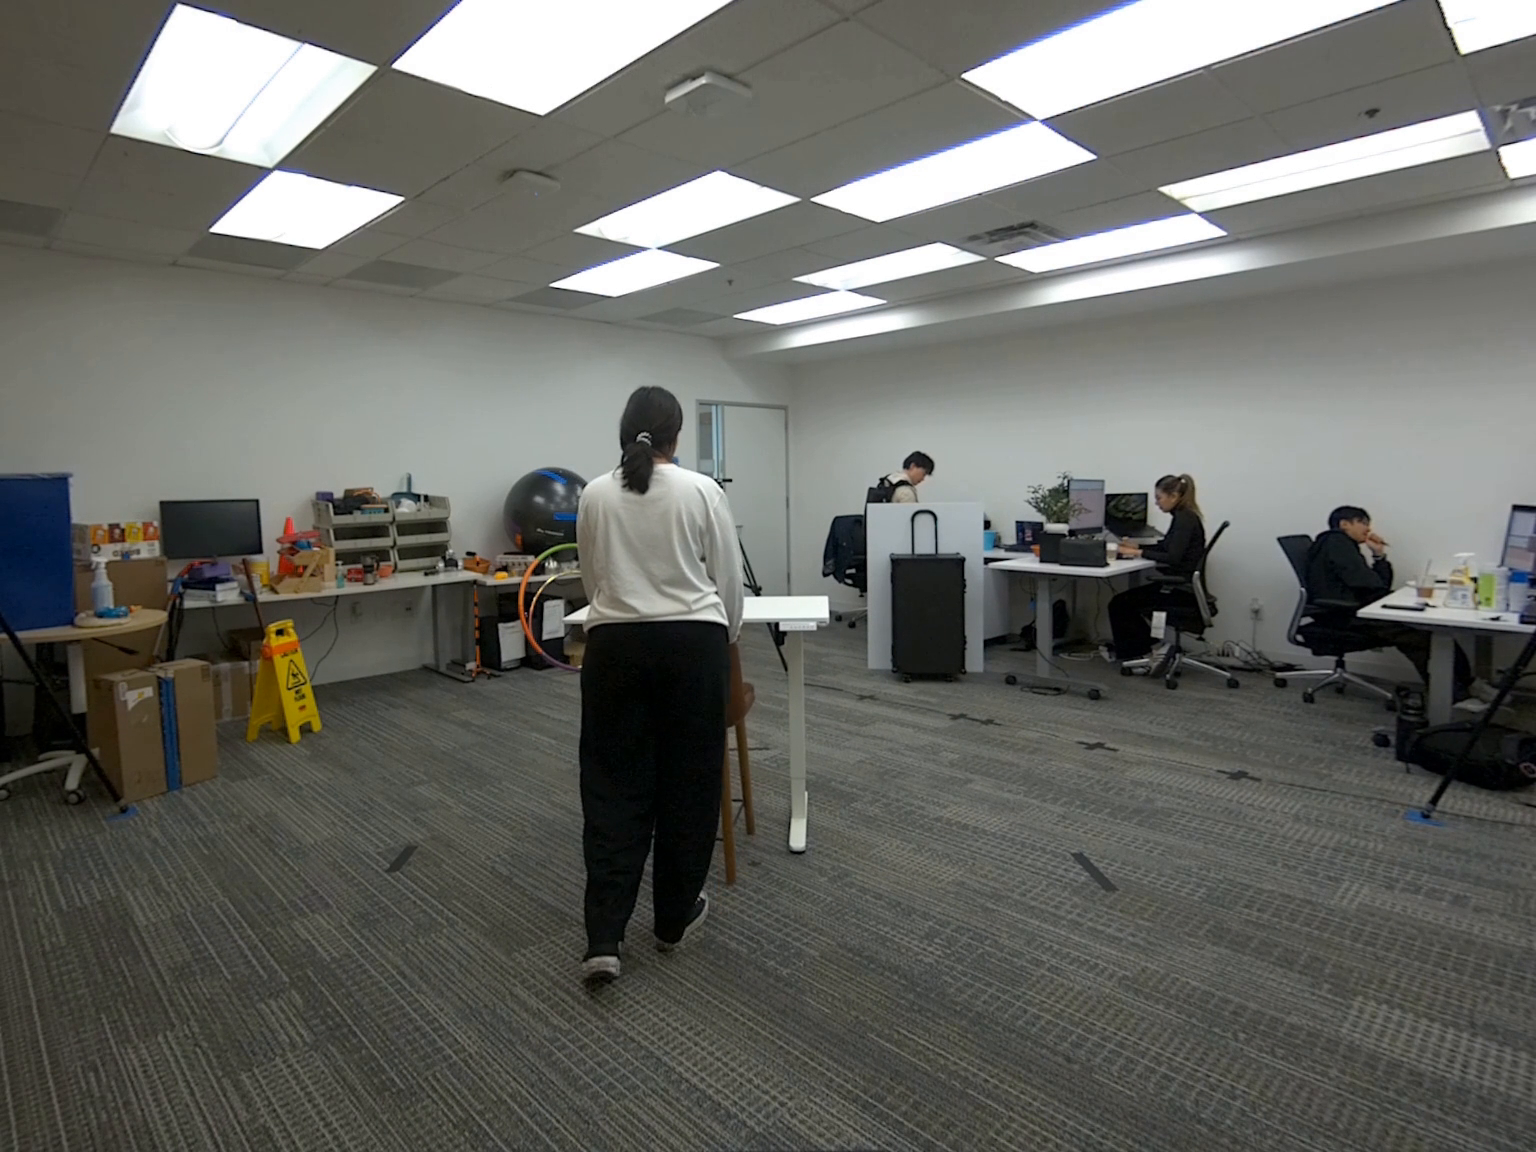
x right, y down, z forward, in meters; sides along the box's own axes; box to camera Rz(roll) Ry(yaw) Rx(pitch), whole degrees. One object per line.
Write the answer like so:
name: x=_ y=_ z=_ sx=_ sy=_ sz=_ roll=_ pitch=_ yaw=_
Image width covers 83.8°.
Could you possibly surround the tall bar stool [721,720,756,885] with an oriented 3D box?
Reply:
tall bar stool: x=-0.286 y=0.609 z=3.158 sx=0.460 sy=0.884 sz=0.466 roll=0 pitch=7 yaw=8
